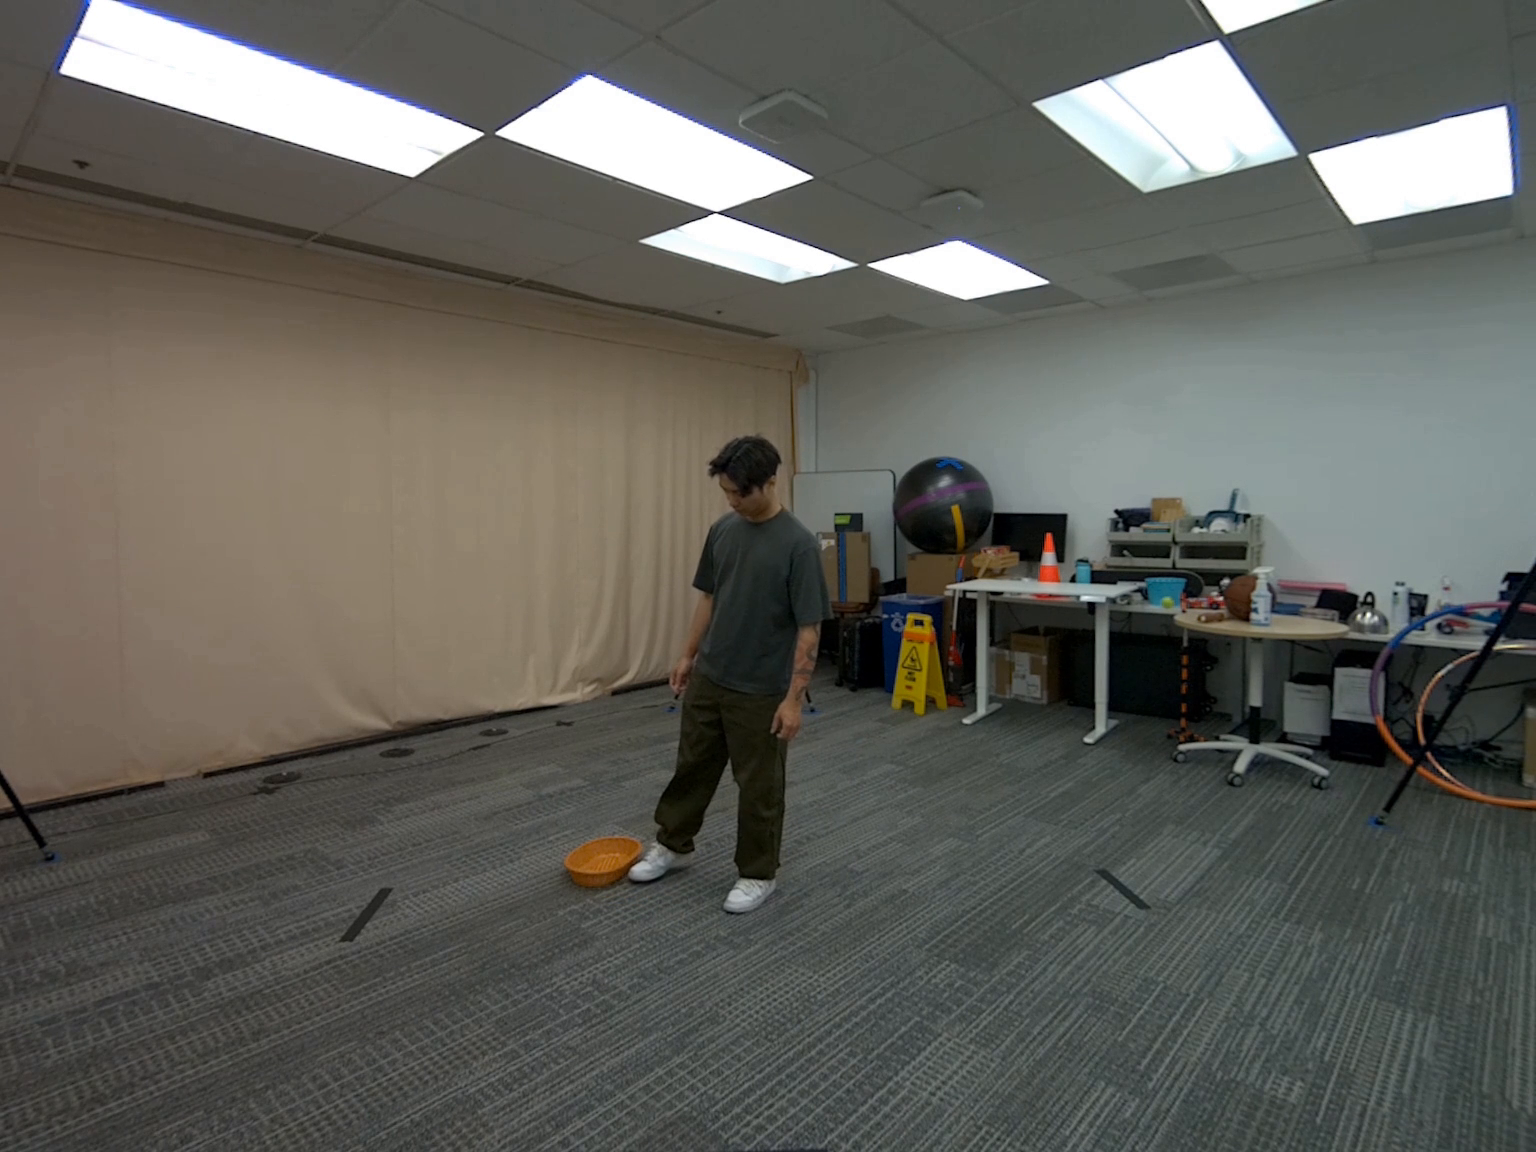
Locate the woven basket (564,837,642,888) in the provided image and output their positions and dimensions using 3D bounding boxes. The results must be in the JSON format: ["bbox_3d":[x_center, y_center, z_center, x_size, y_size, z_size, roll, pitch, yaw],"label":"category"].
[{"bbox_3d":[-0.625,1.090,3.214,0.259,0.073,0.342,2,5,24],"label":"woven basket"}]
